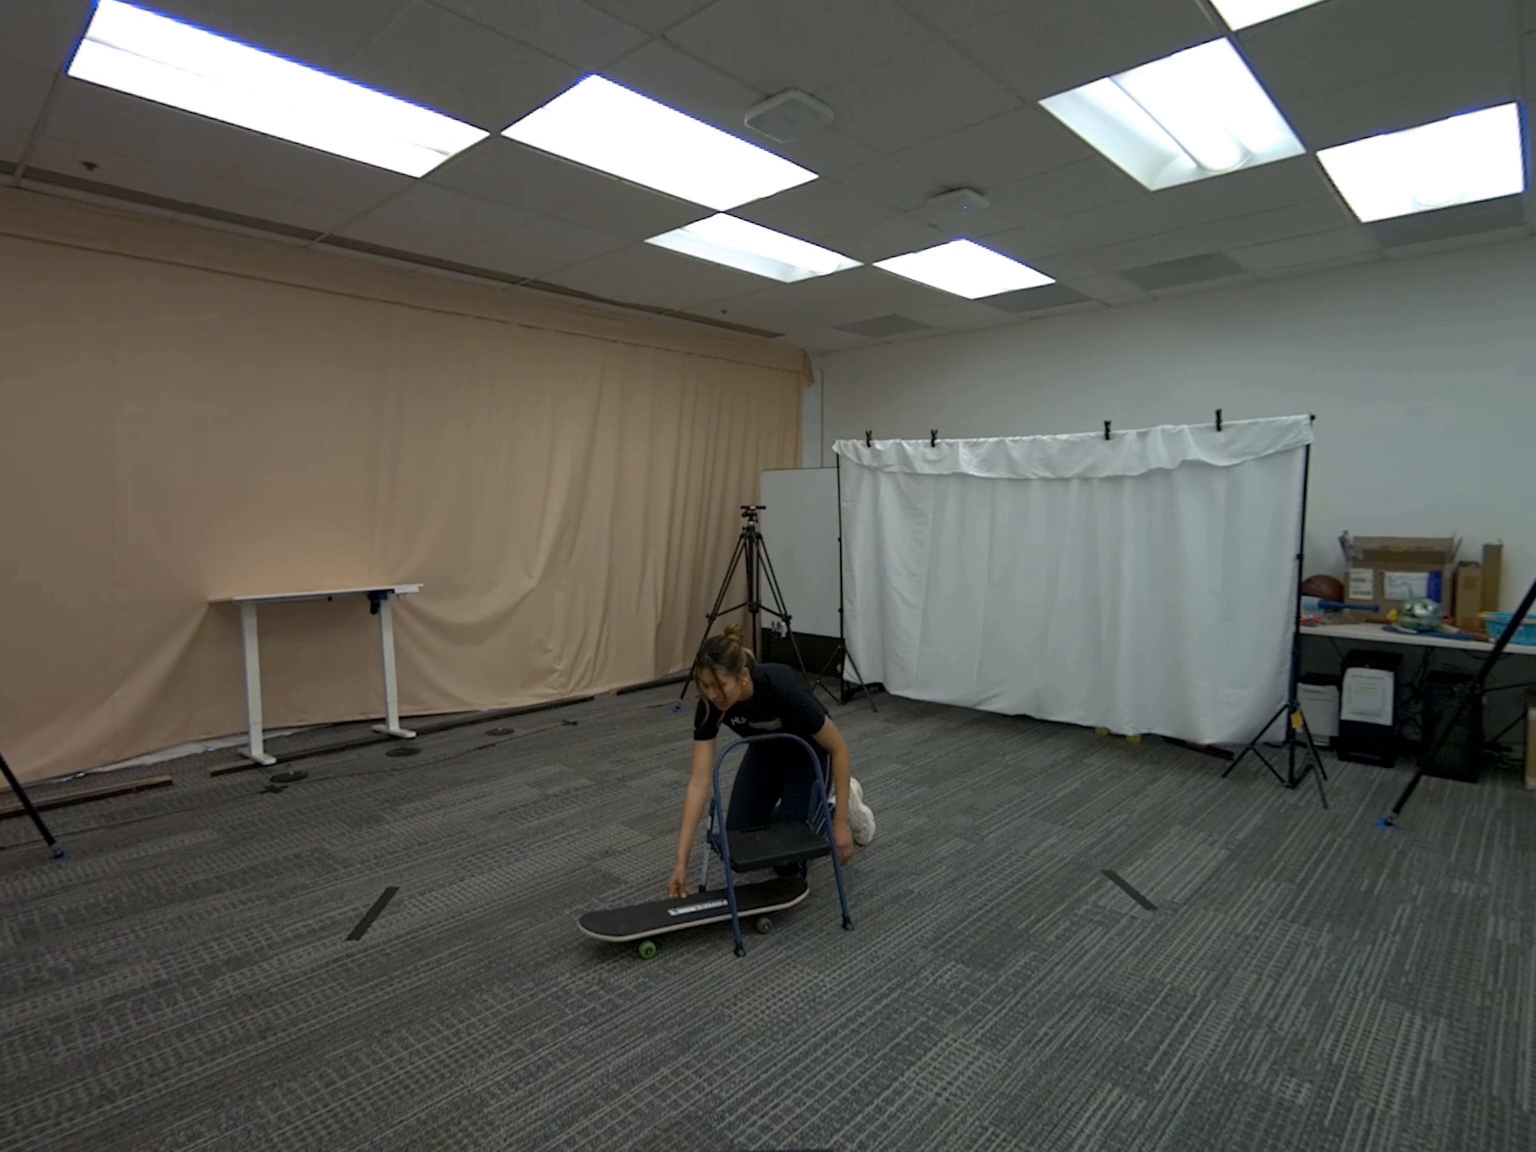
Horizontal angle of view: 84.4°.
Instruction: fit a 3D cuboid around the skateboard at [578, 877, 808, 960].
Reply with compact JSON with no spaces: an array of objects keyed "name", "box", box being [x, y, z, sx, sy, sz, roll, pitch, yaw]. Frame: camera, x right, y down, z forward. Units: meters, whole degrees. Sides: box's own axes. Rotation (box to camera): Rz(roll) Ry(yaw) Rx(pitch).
[{"name":"skateboard","box":[-0.219,1.101,2.740,0.769,0.110,0.198,-2,4,-21]}]
